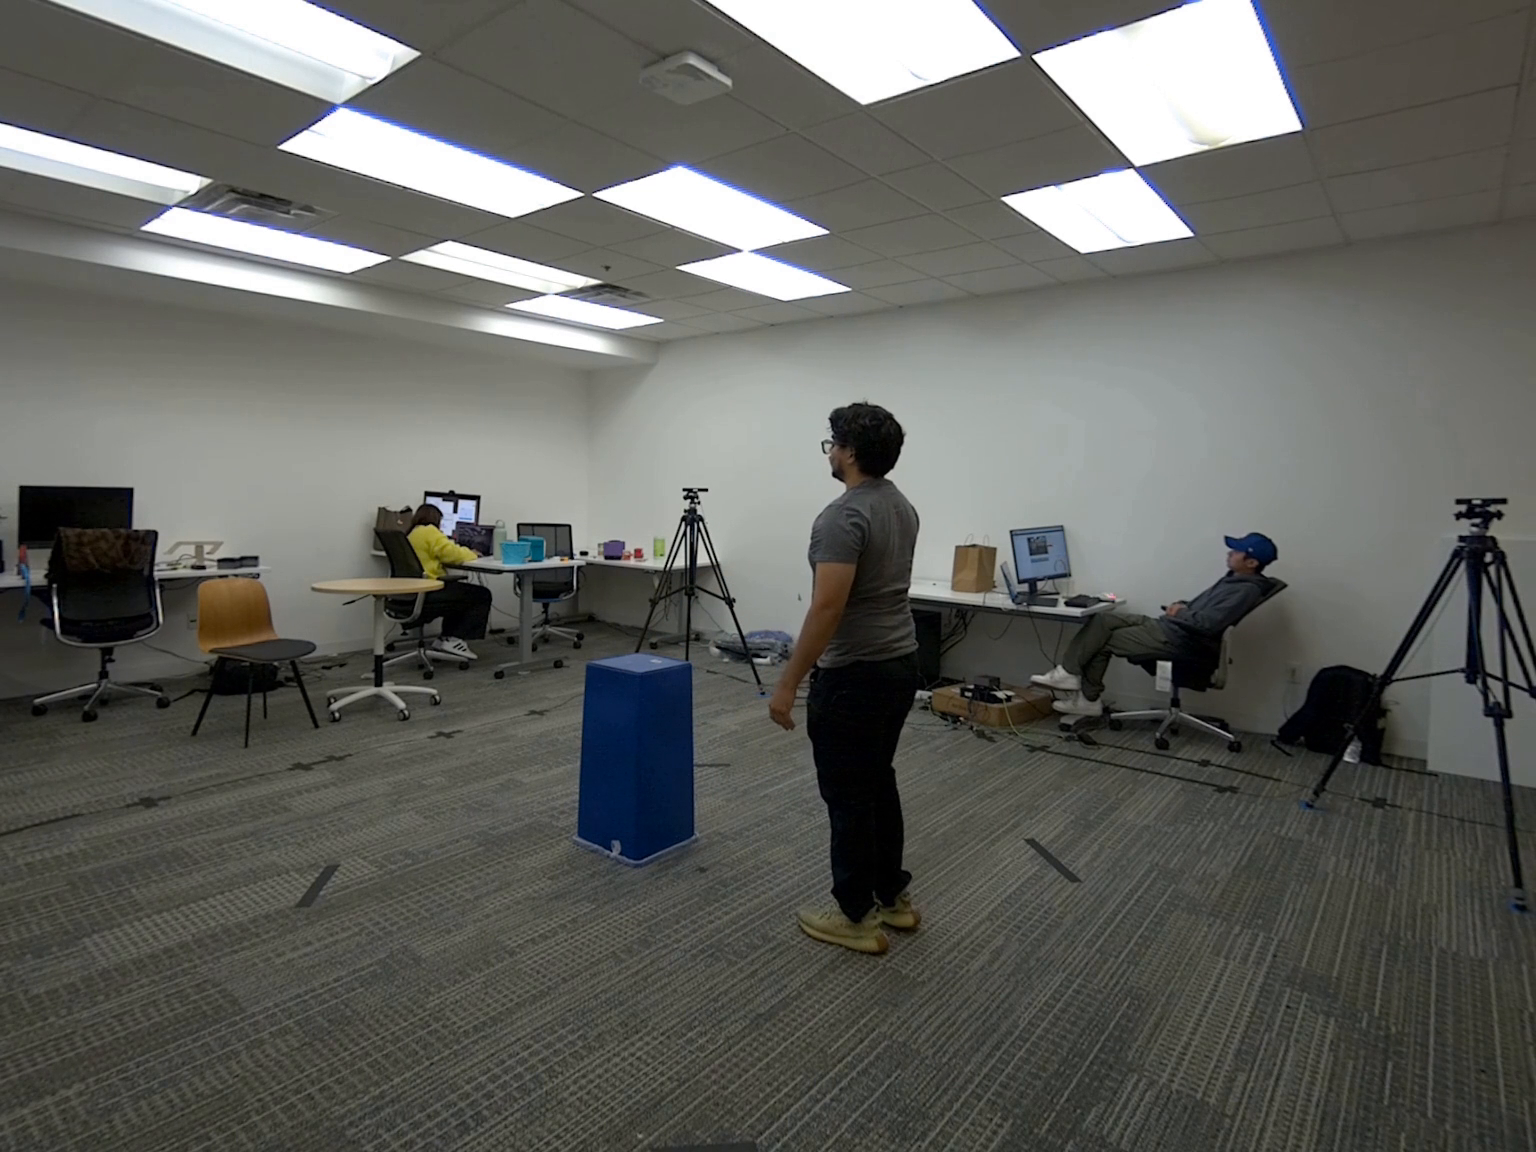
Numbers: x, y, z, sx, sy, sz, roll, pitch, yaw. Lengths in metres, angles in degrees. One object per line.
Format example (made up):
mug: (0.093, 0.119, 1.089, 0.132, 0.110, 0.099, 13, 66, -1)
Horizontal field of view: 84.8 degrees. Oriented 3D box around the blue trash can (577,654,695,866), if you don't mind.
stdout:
blue trash can: (-0.515, 0.689, 3.345, 0.390, 0.712, 0.363, 4, 3, 38)
